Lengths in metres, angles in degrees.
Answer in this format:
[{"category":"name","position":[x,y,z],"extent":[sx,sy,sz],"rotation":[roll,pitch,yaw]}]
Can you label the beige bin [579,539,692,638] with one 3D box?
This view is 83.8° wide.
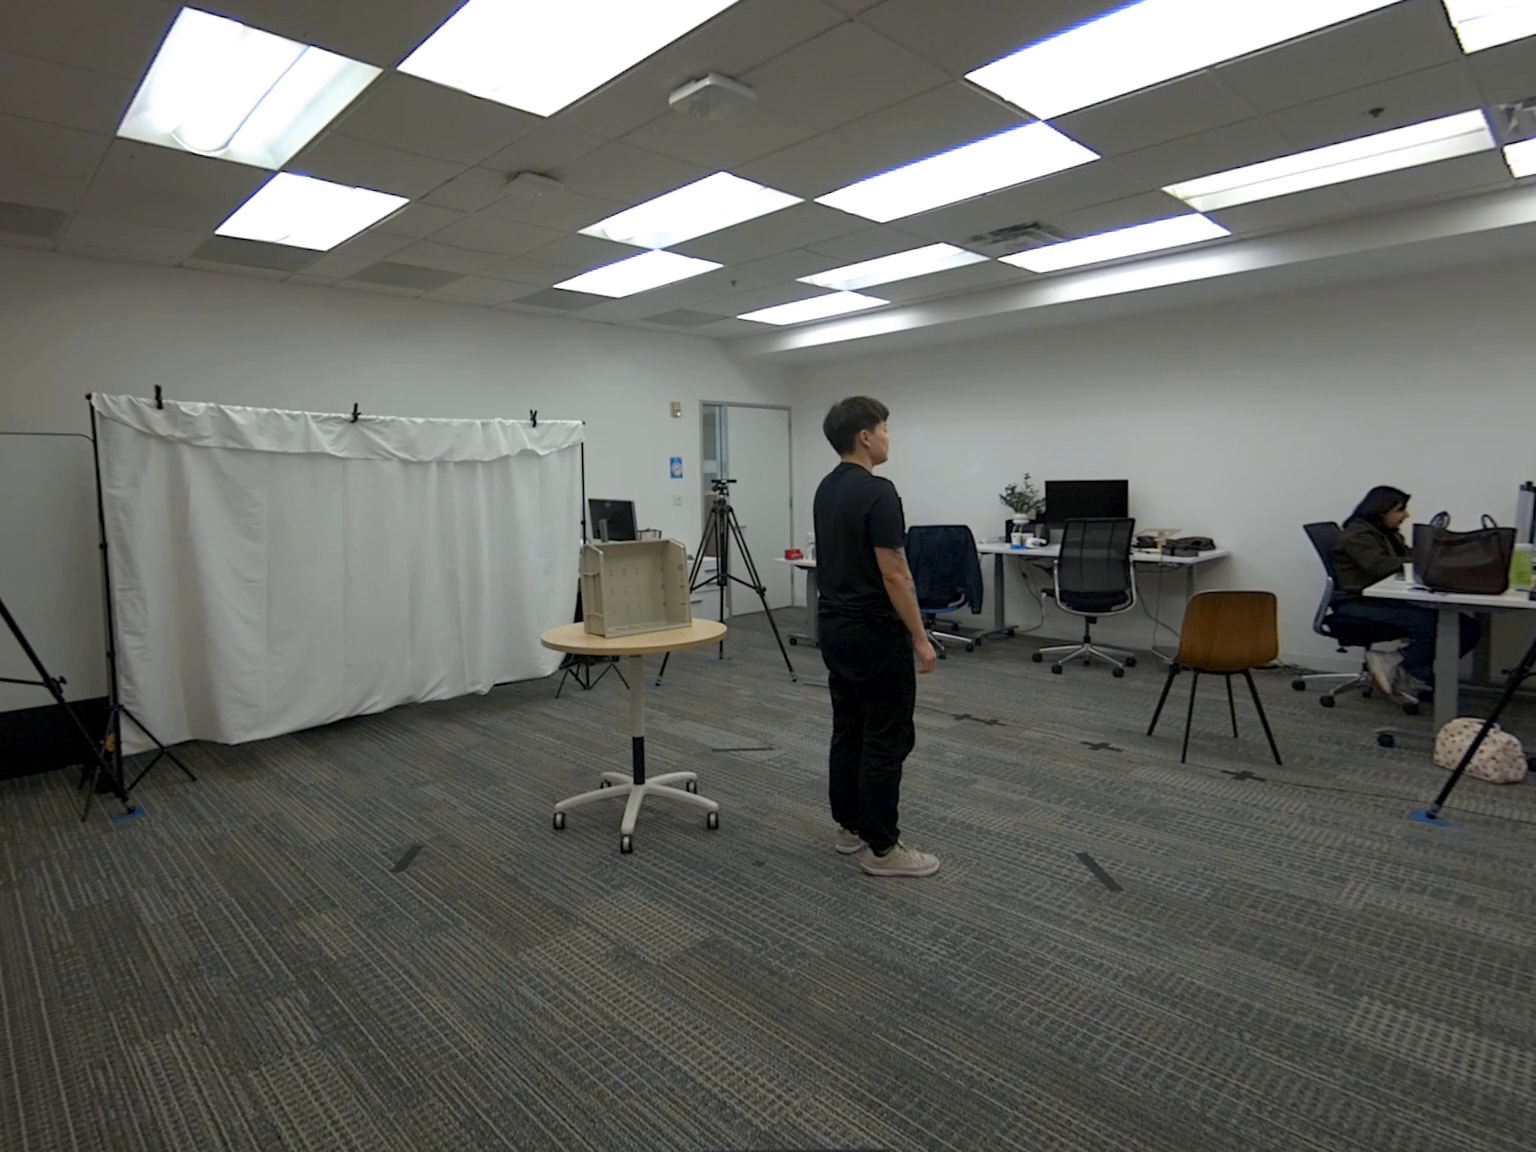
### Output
[{"category":"beige bin","position":[-0.550,0.042,3.554],"extent":[0.411,0.377,0.194],"rotation":[-5,0,-39]}]
